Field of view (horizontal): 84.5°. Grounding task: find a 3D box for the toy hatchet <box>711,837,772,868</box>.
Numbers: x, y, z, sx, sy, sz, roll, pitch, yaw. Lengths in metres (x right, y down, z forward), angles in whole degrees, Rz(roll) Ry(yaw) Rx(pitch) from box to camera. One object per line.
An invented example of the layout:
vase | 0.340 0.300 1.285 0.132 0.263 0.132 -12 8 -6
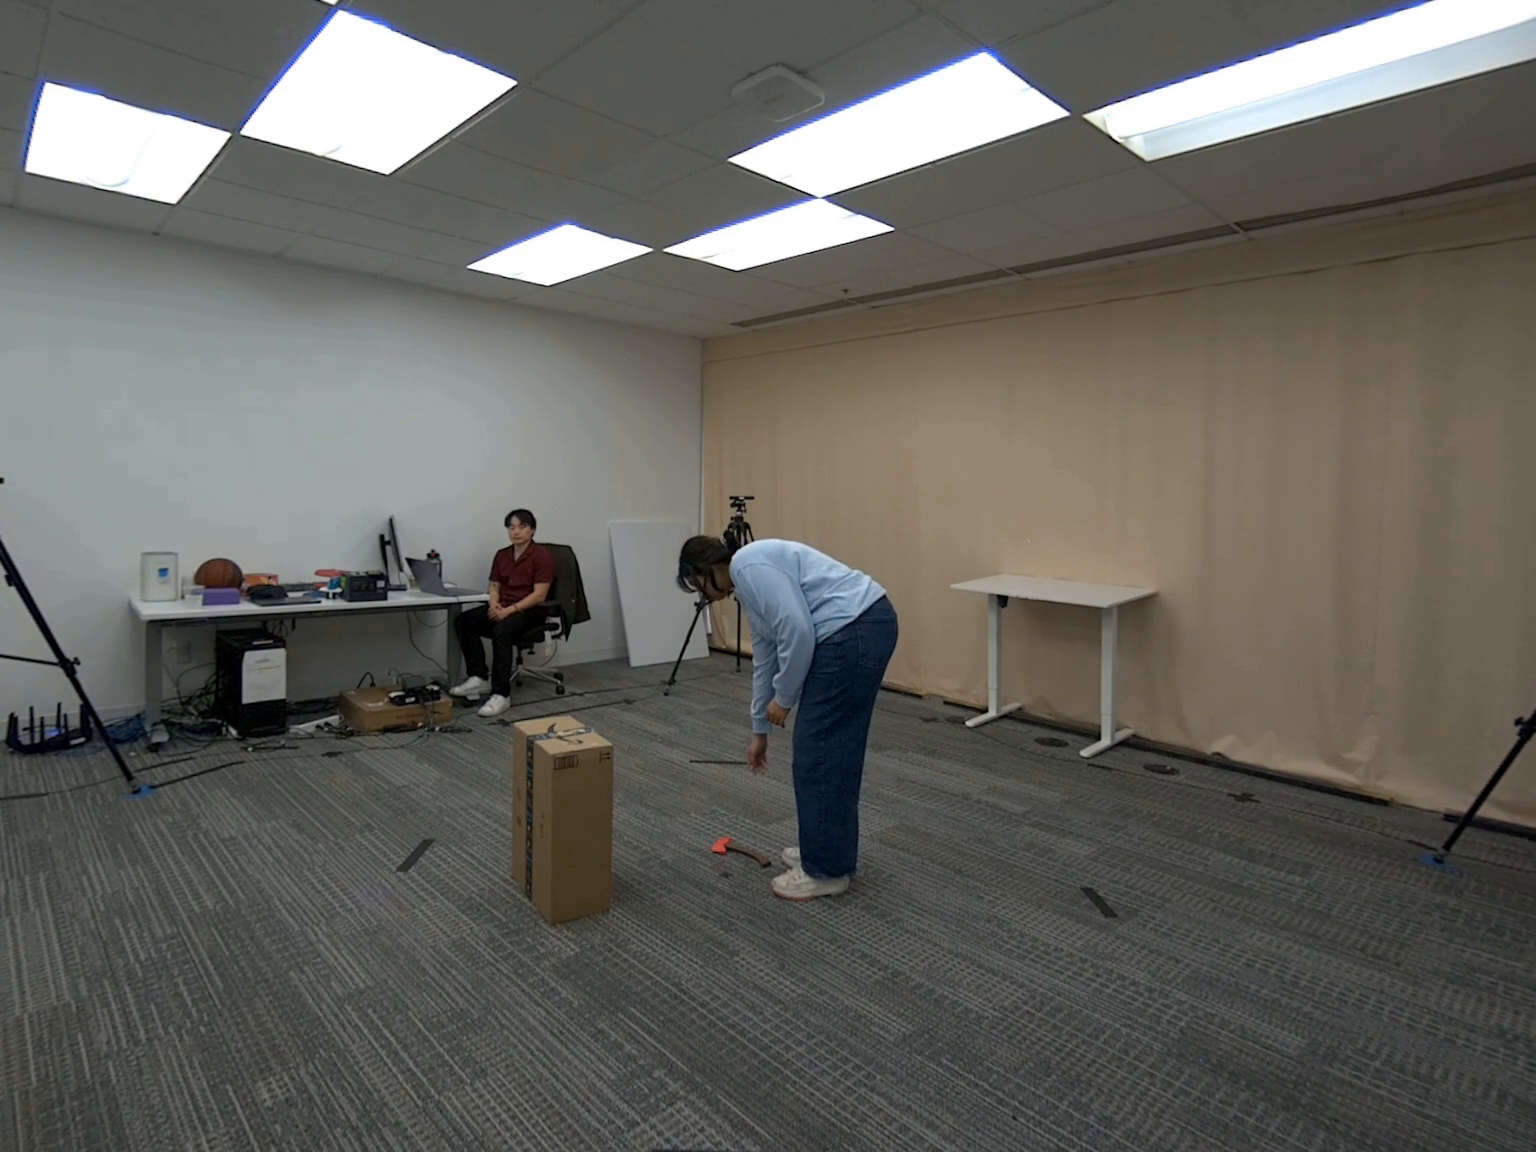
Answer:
toy hatchet | -0.123 1.078 3.260 0.128 0.029 0.277 -3 8 -37
